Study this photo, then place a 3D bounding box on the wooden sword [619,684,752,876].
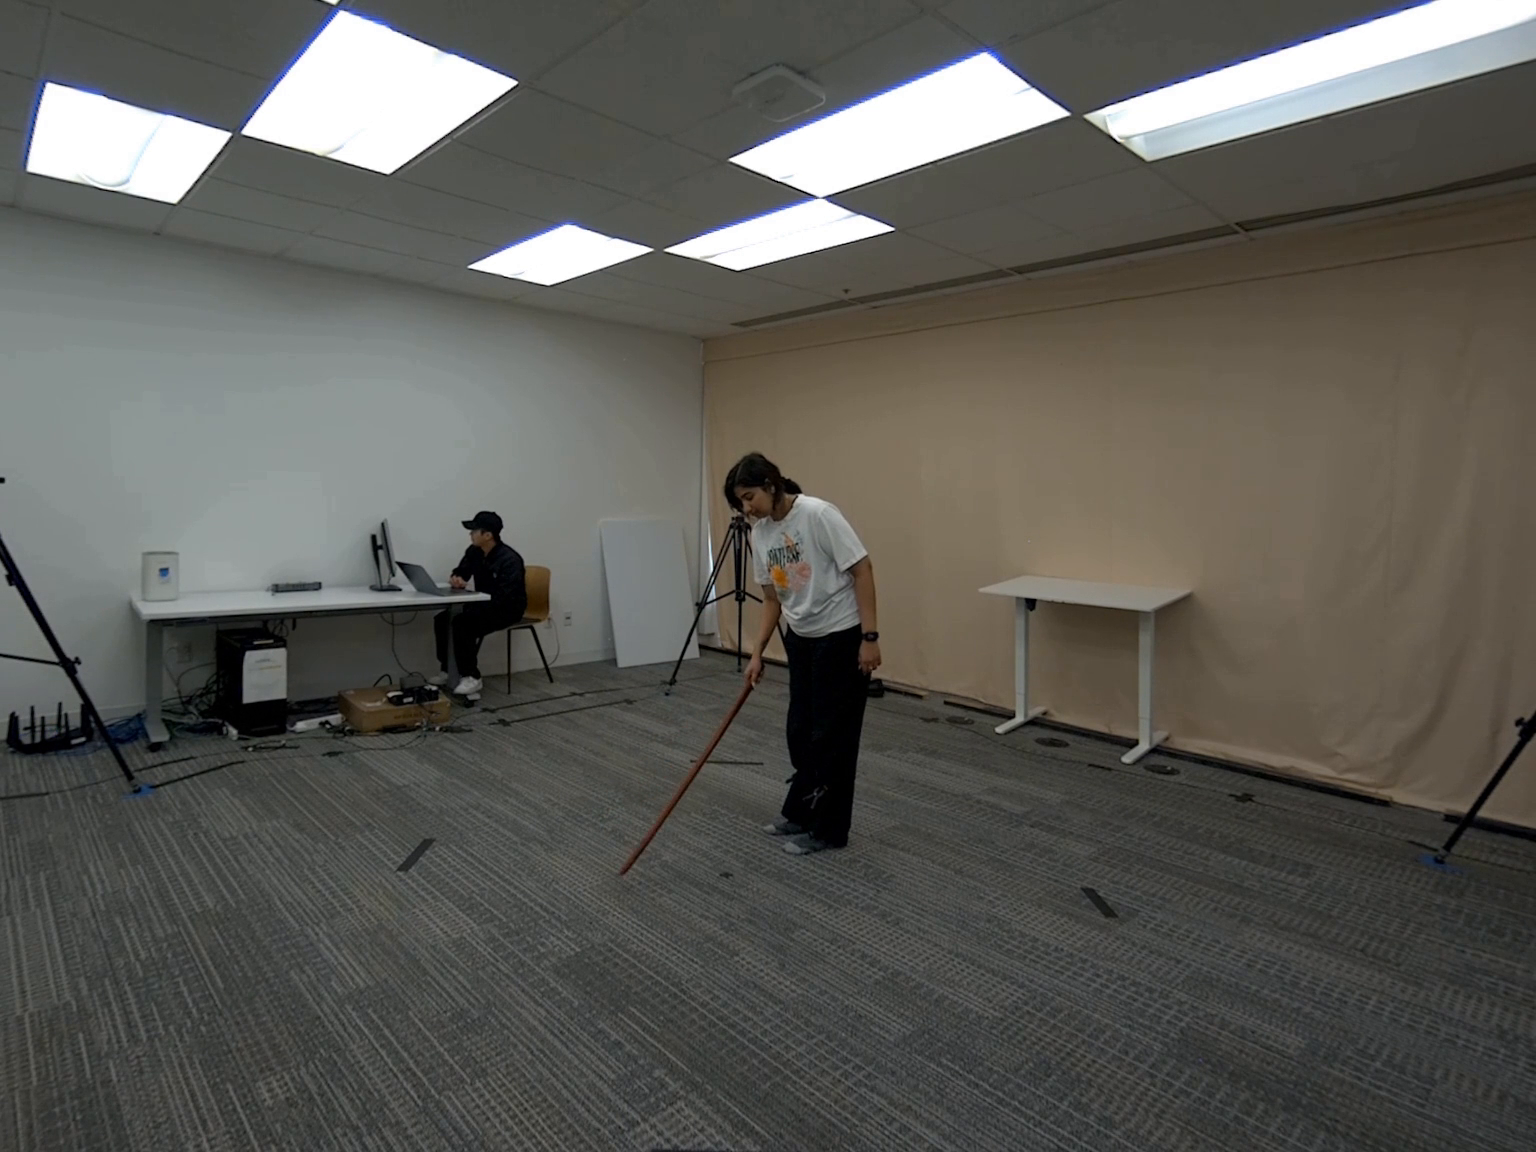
[{"bbox_3d":[-0.278,0.726,3.235,0.052,0.023,1.027,7,45,34],"label":"wooden sword"}]
